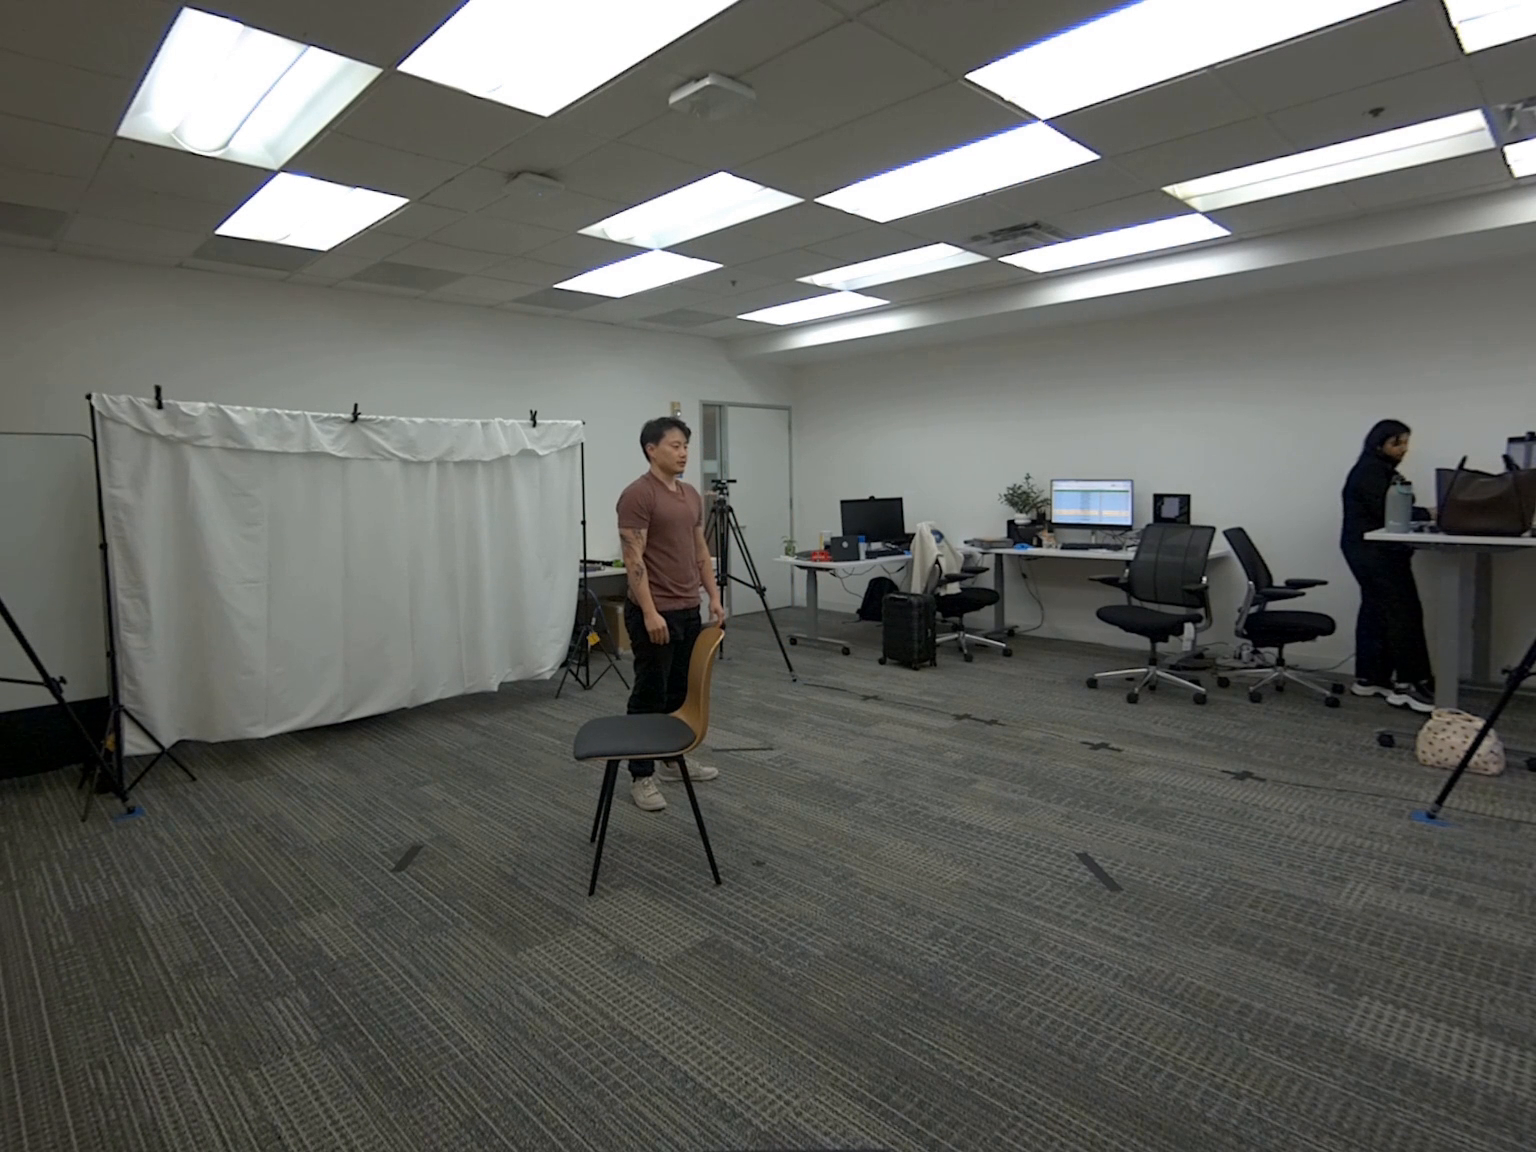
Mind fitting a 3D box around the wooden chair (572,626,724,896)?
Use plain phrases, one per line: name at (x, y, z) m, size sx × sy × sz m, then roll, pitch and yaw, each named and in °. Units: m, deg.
wooden chair at (-0.443, 0.630, 3.106) m, size 0.518 × 0.875 × 0.484 m, roll 2°, pitch 4°, yaw -10°
